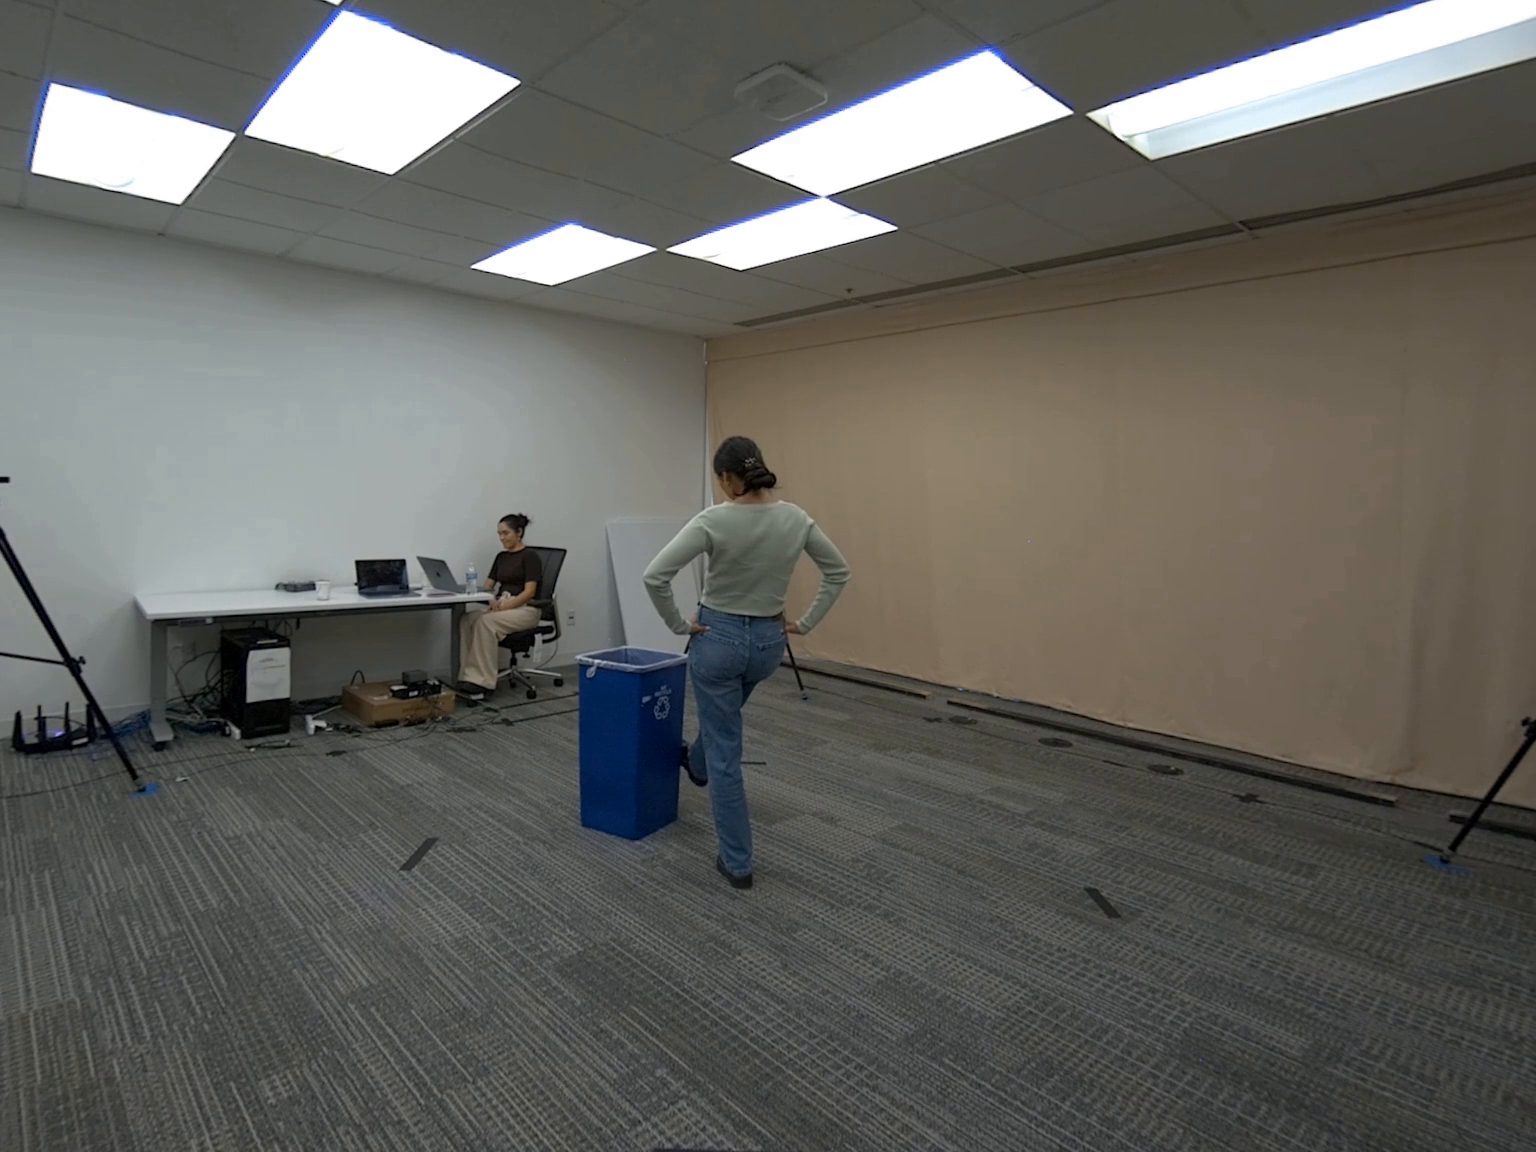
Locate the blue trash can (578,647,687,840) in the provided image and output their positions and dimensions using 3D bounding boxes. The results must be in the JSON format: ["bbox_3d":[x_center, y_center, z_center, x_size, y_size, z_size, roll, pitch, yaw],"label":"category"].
[{"bbox_3d":[-0.579,0.692,3.572,0.382,0.712,0.370,3,3,30],"label":"blue trash can"}]
